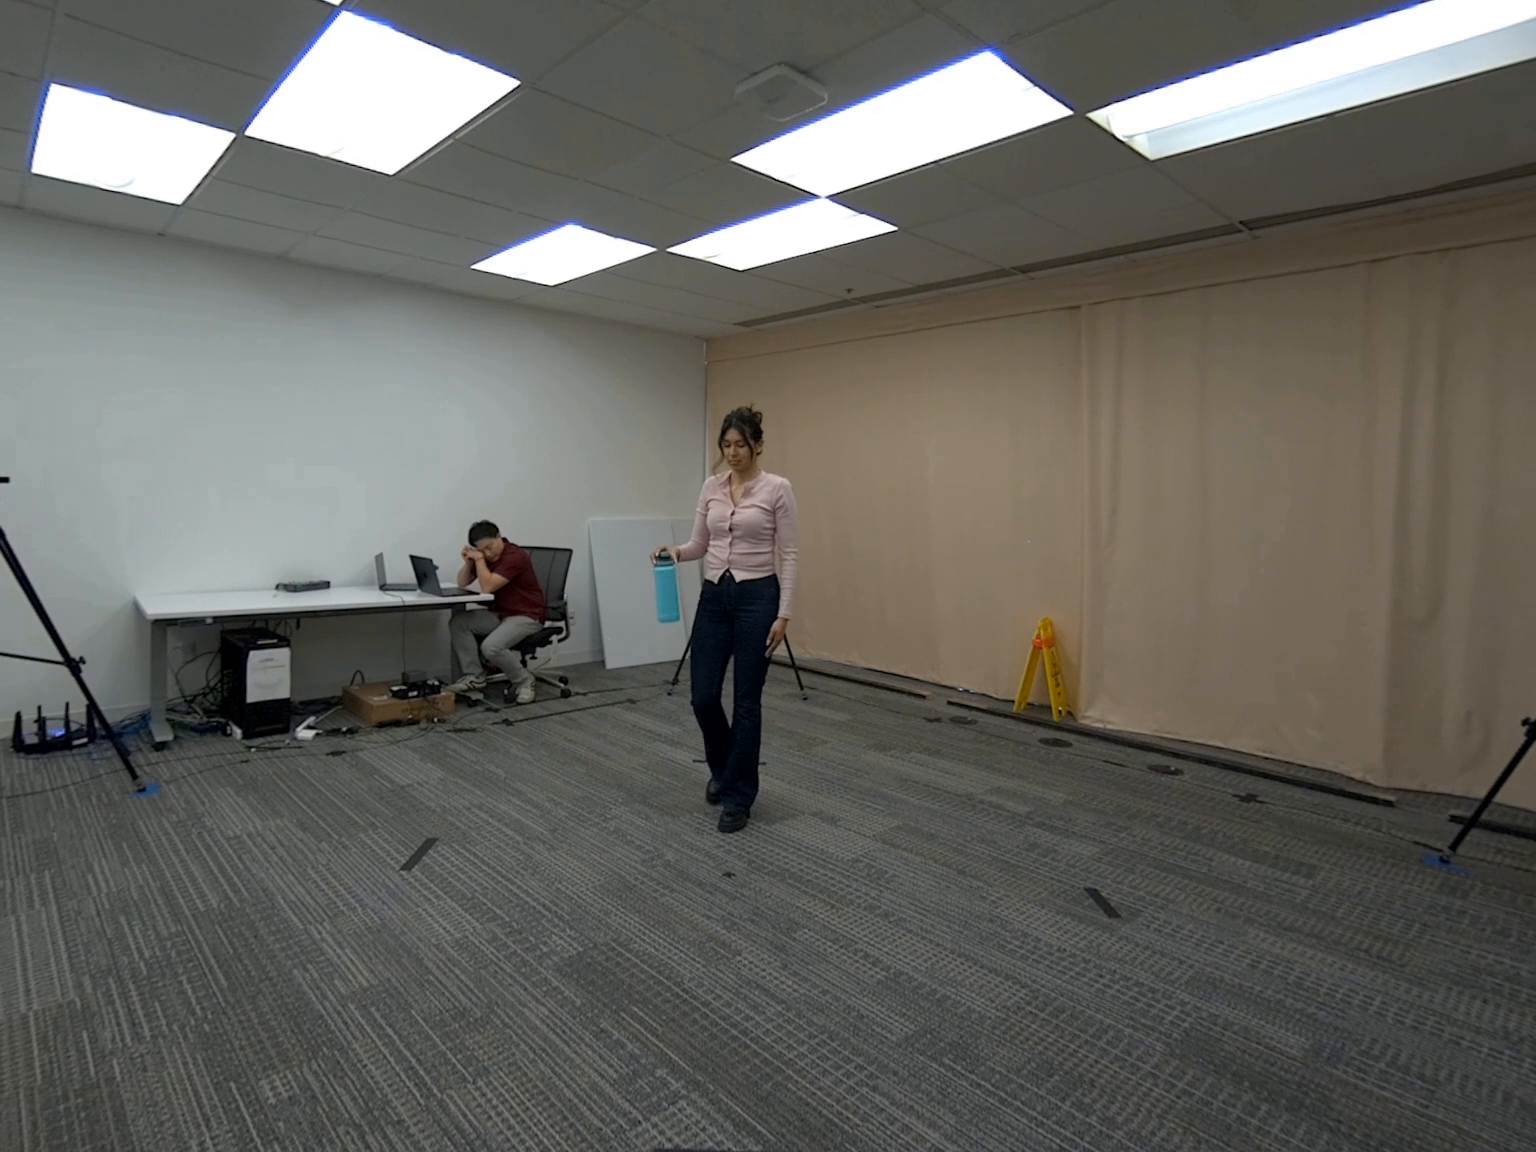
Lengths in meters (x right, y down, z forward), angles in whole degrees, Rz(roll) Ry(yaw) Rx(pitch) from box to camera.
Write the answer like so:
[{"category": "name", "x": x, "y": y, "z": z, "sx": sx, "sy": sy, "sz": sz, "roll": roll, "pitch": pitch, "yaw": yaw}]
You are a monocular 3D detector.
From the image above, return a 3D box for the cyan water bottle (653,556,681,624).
[{"category": "cyan water bottle", "x": -0.426, "y": 0.044, "z": 3.427, "sx": 0.092, "sy": 0.283, "sz": 0.092, "roll": -3, "pitch": 1, "yaw": -1}]
